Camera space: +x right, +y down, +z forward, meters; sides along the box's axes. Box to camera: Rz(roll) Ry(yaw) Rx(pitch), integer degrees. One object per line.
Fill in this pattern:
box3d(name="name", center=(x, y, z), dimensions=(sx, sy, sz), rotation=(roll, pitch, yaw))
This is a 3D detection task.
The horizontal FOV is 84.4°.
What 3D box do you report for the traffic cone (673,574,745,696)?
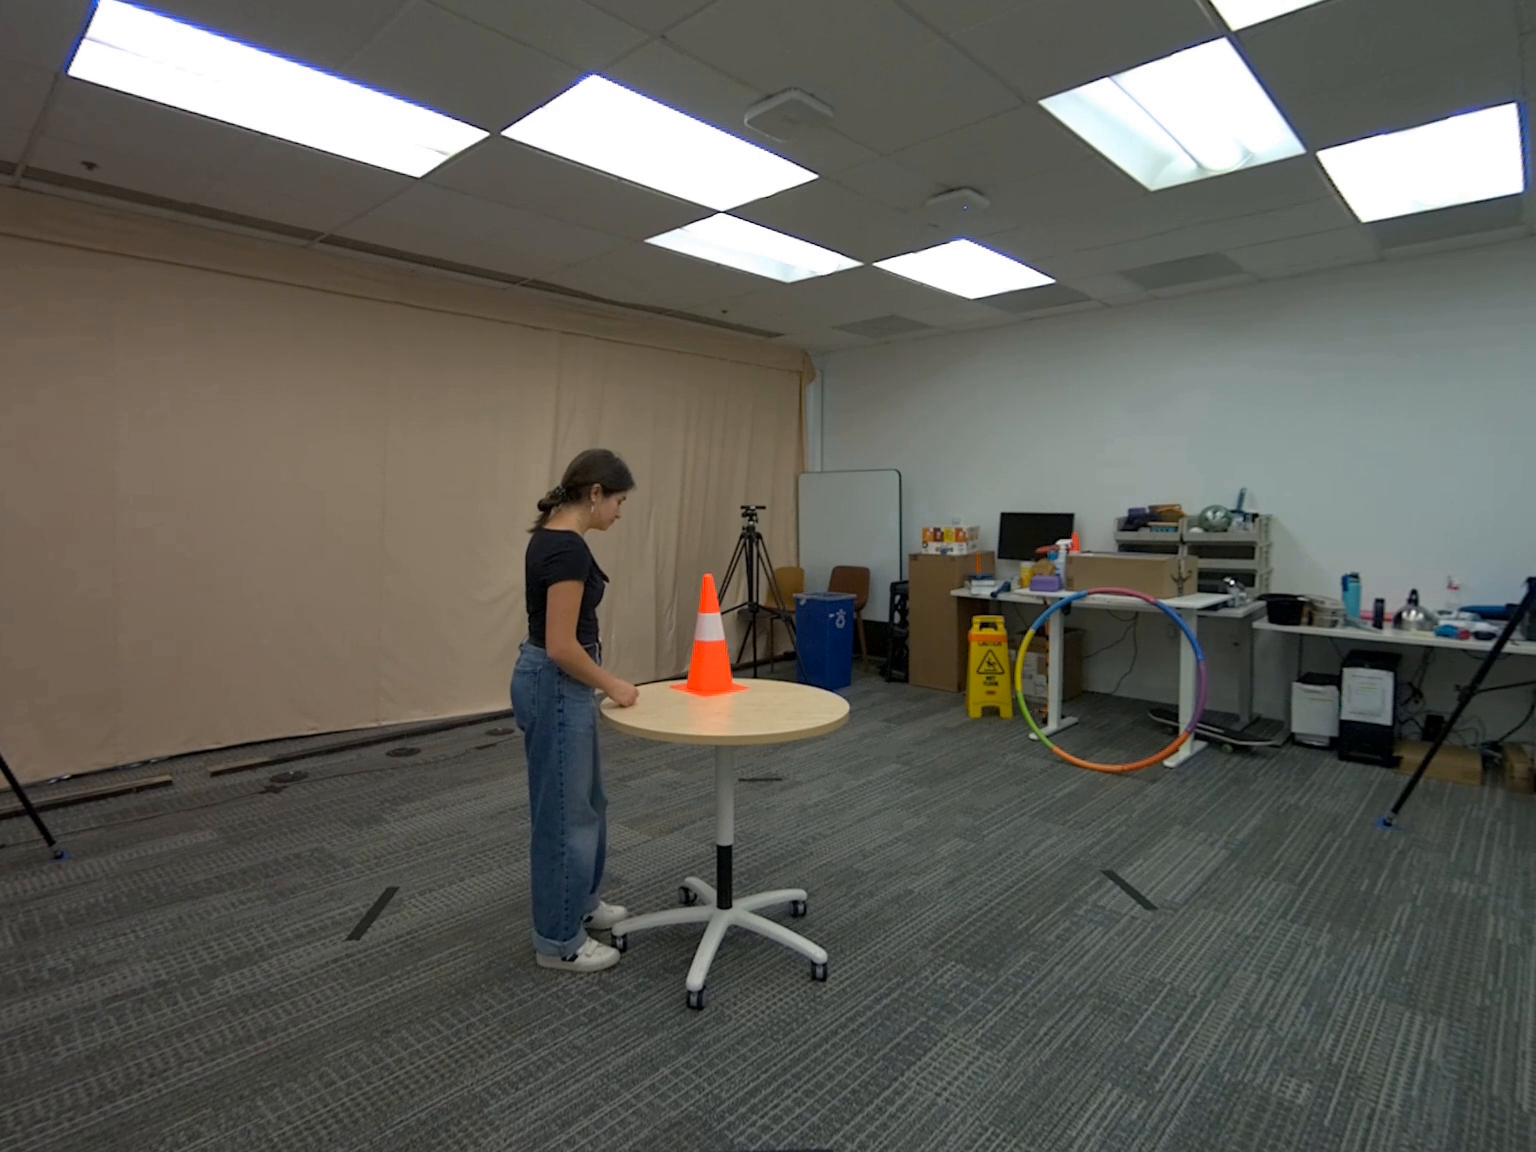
box3d(name="traffic cone", center=(-0.191, 0.193, 2.815), dimensions=(0.197, 0.383, 0.212), rotation=(-2, 2, -42))
